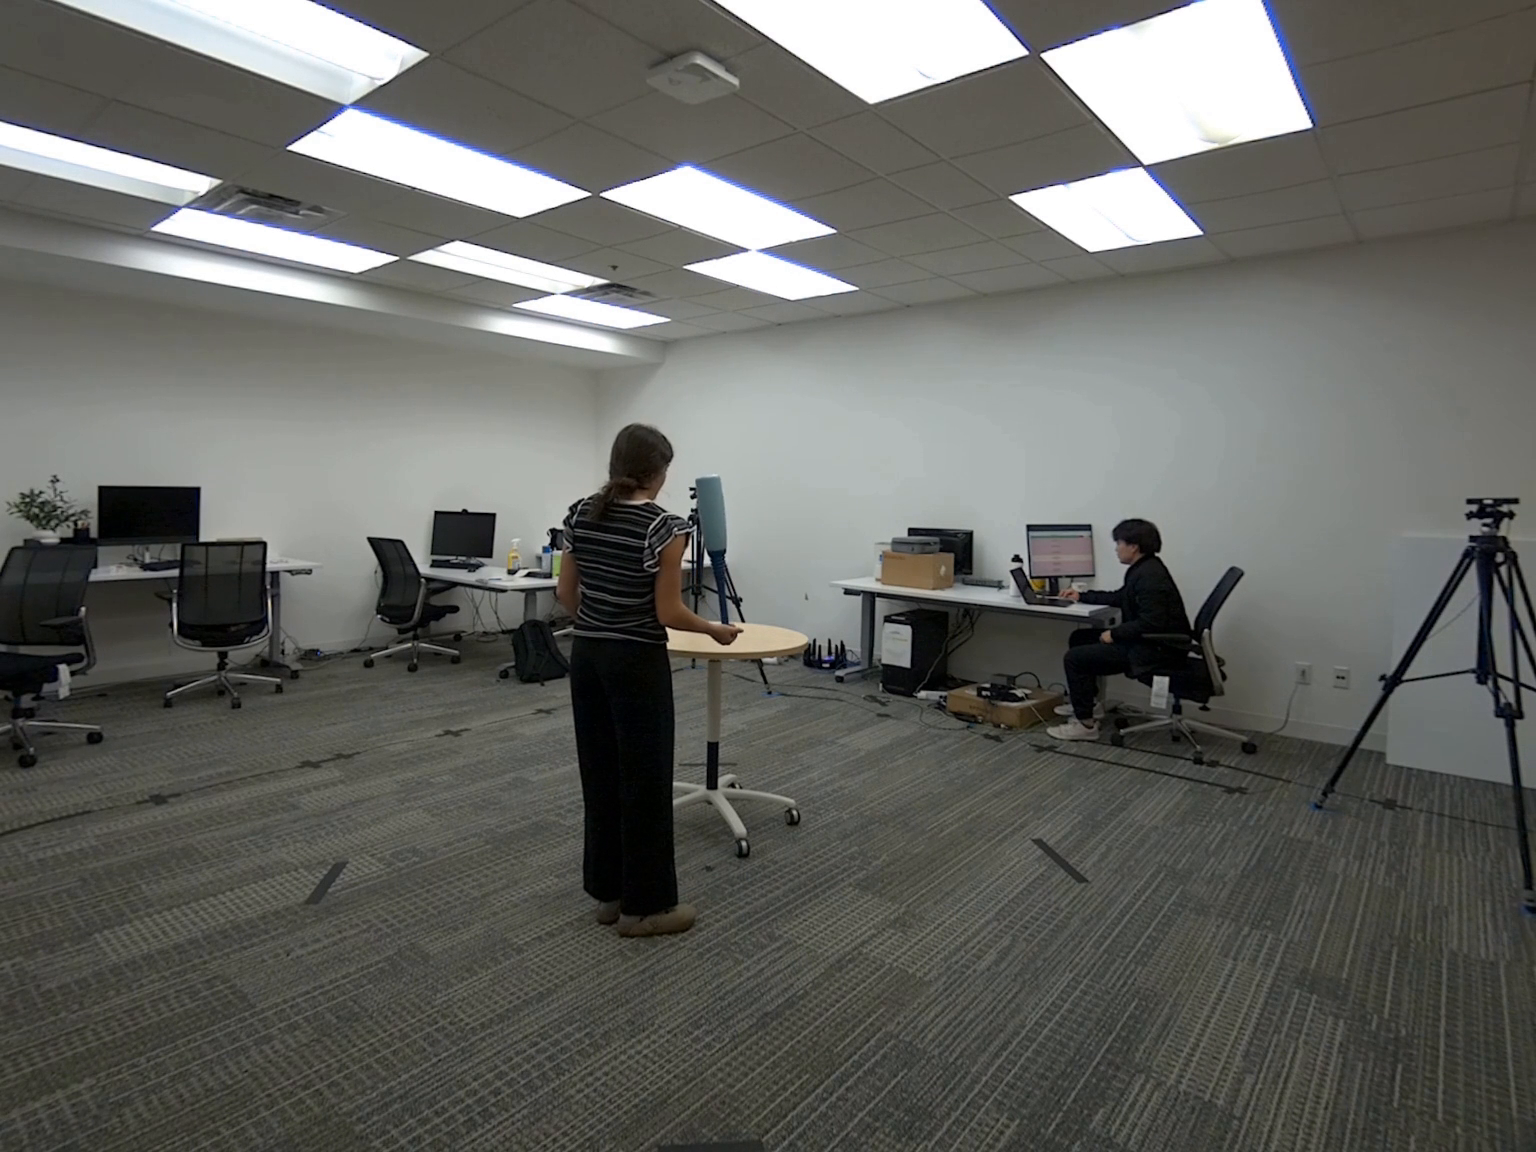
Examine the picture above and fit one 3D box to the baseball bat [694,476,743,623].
[{"bbox_3d":[-0.182,-0.073,2.846,0.089,0.539,0.090,-7,6,-1],"label":"baseball bat"}]
